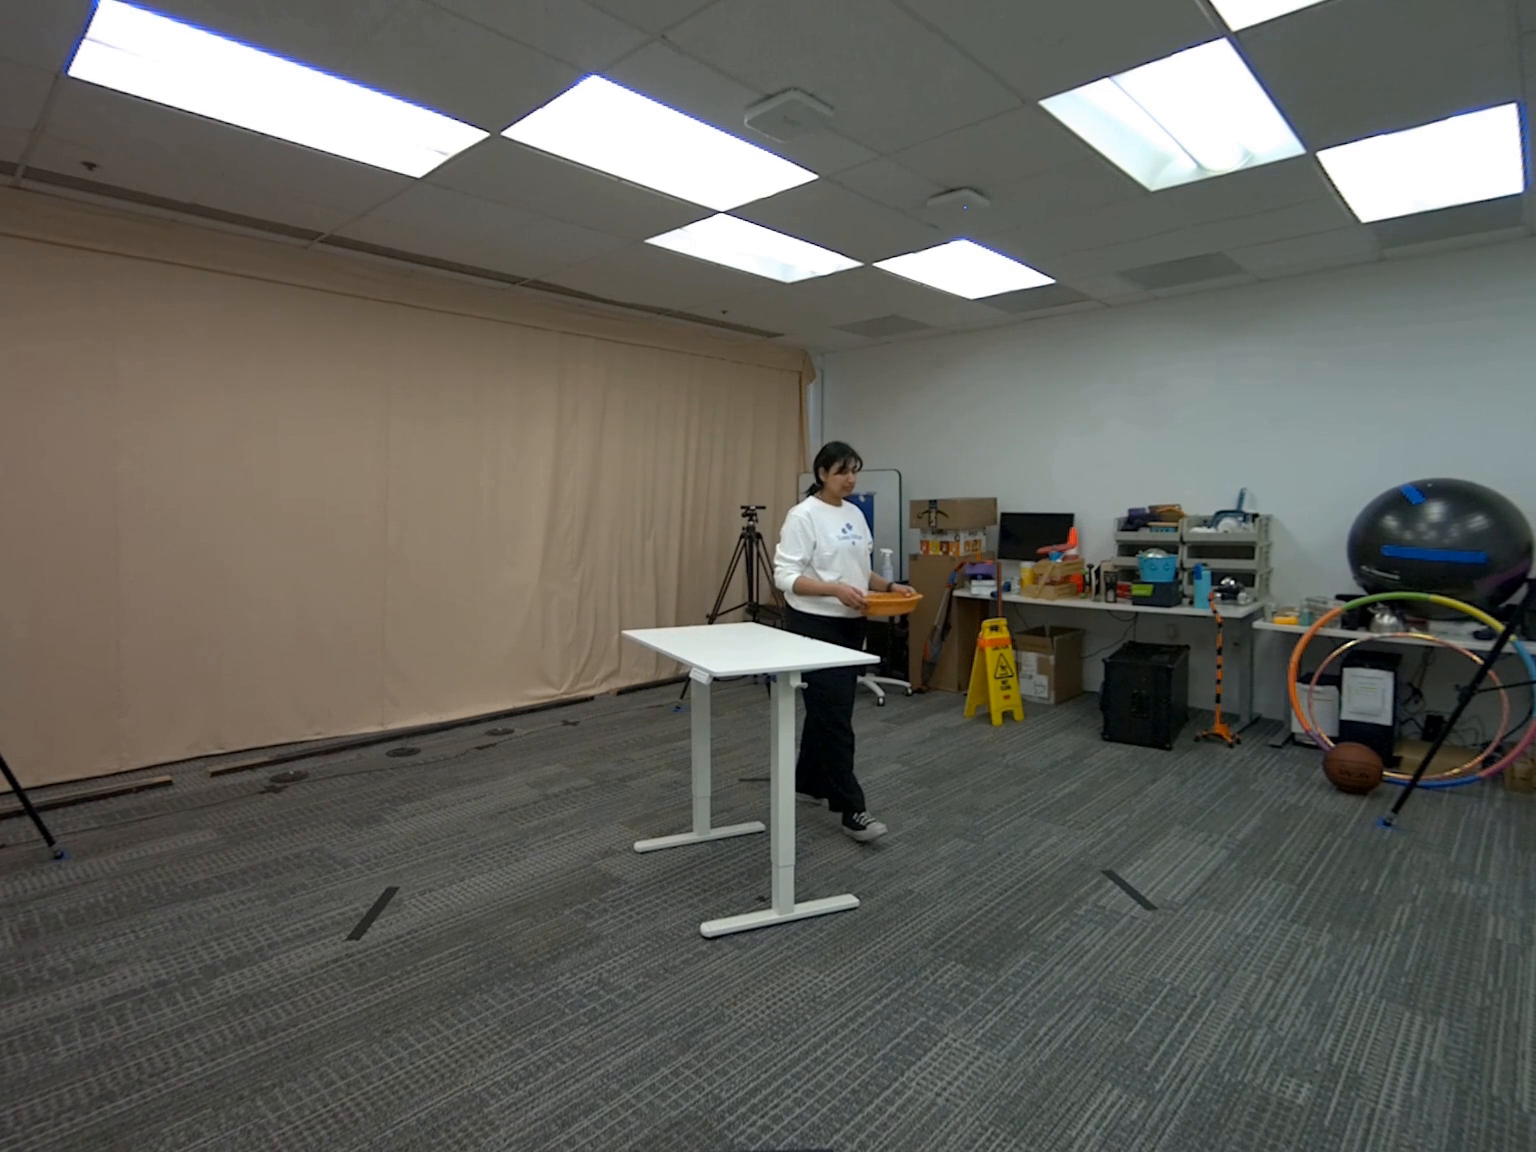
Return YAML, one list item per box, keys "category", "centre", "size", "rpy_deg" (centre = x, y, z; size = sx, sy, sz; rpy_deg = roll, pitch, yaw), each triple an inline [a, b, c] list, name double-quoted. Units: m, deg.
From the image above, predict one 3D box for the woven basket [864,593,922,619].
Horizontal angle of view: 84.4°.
- category: "woven basket"
  centre: [0.504, 0.119, 3.677]
  size: [0.344, 0.073, 0.258]
  rpy_deg: [-8, 11, -18]
